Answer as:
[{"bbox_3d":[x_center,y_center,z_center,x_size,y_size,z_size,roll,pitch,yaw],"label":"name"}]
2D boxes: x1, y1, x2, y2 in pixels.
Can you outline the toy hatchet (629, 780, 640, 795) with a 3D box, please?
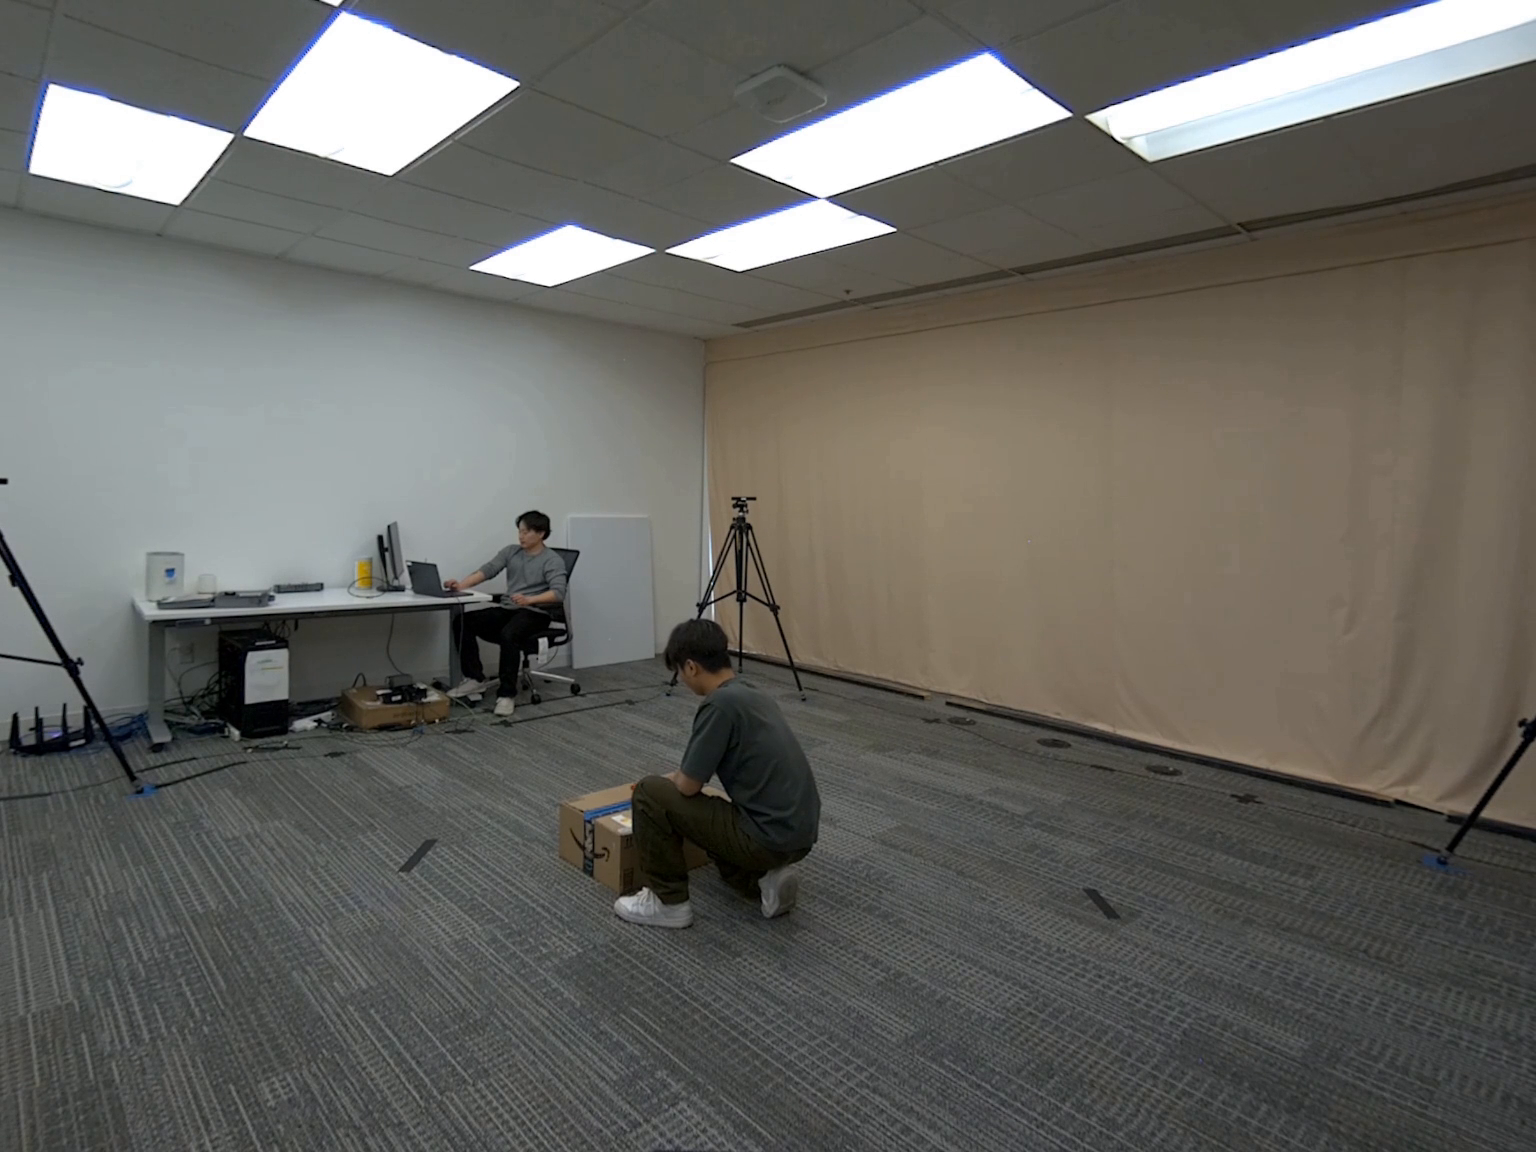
[{"bbox_3d":[-0.406,0.829,3.306,0.264,0.030,0.131,10,-33,-29],"label":"toy hatchet"}]
